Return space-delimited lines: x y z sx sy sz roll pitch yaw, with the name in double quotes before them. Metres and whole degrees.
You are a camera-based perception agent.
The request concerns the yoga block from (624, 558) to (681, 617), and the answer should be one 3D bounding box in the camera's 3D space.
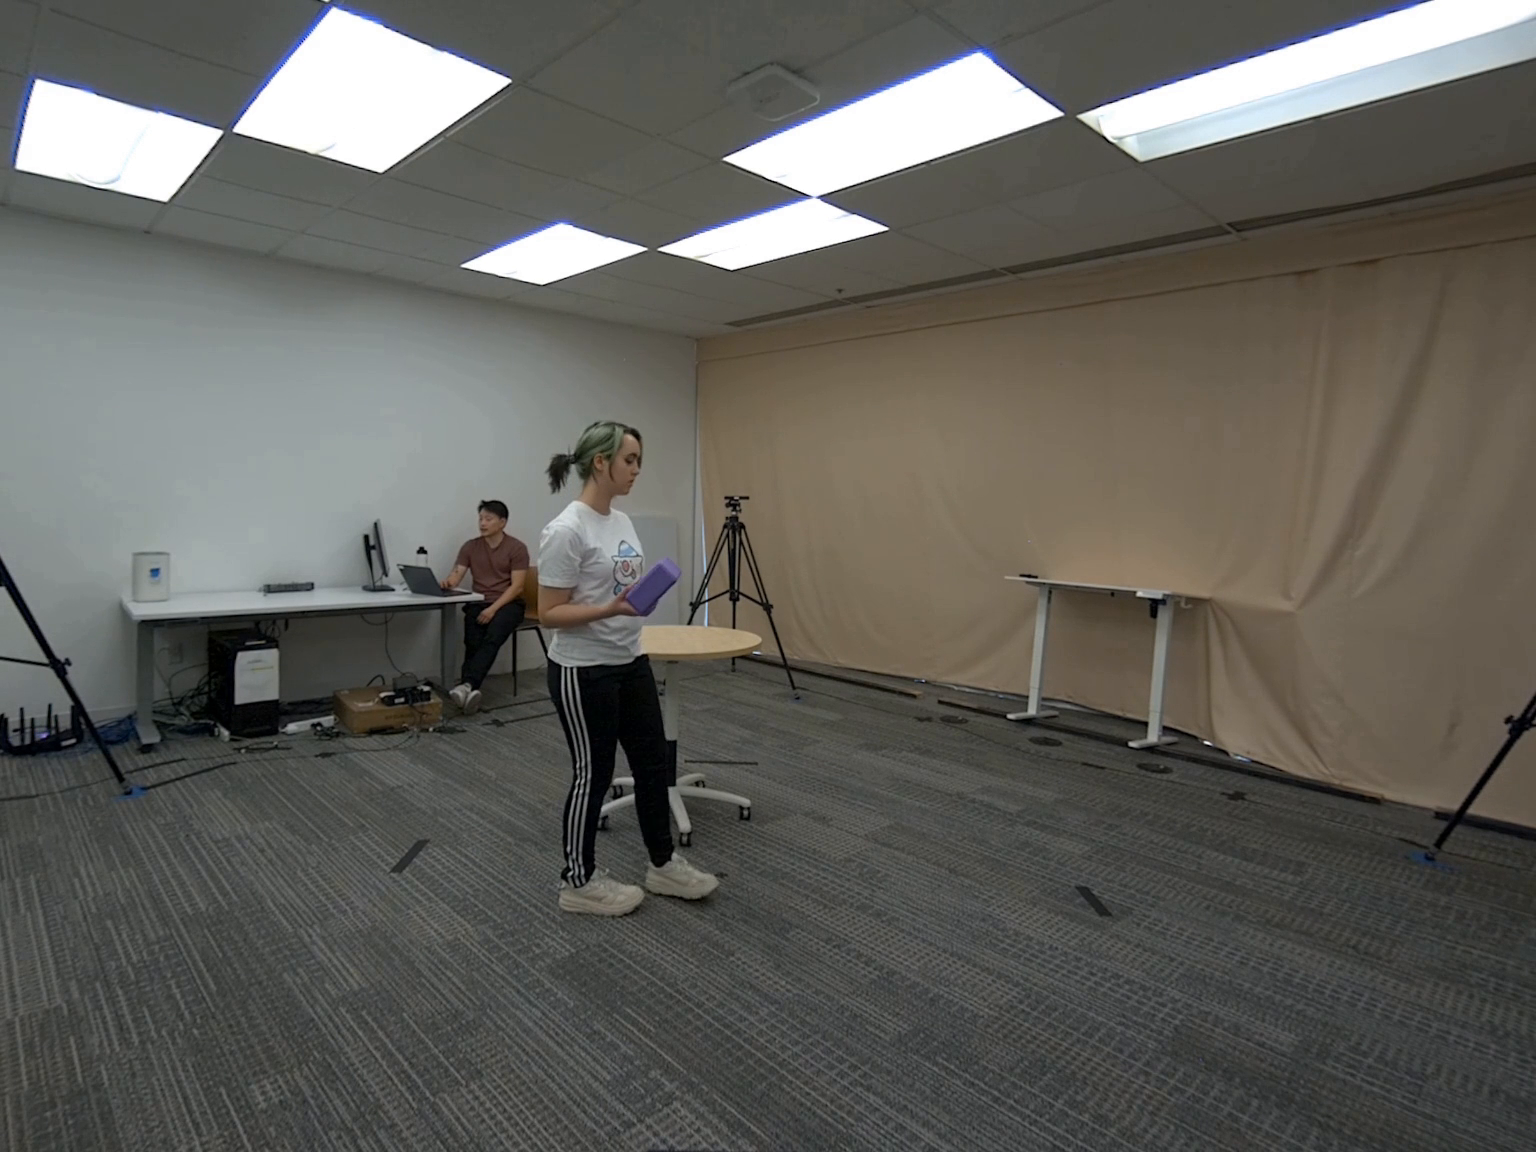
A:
"yoga block" -0.337 0.026 2.490 0.076 0.149 0.231 44 3 -7
